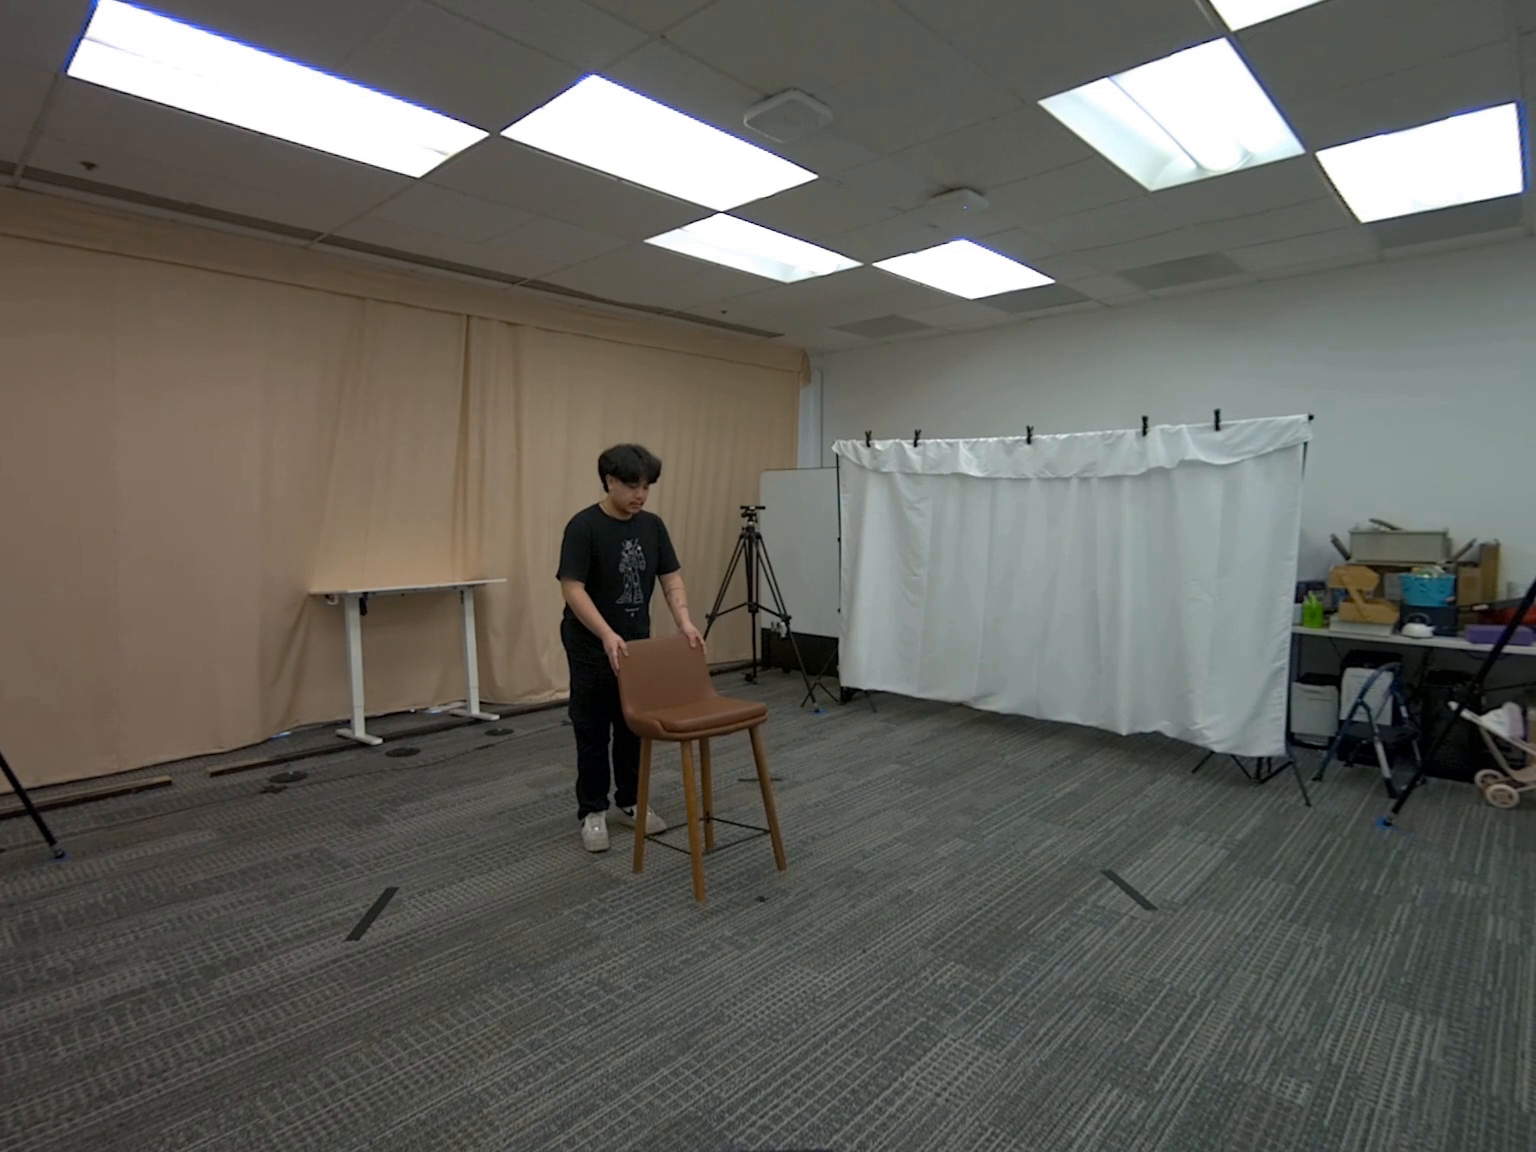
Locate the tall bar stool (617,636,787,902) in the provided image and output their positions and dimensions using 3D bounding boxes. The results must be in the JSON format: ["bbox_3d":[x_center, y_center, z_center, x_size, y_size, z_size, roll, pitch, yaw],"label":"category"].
[{"bbox_3d":[-0.270,0.673,3.173,0.443,0.892,0.481,-4,-4,-40],"label":"tall bar stool"}]
